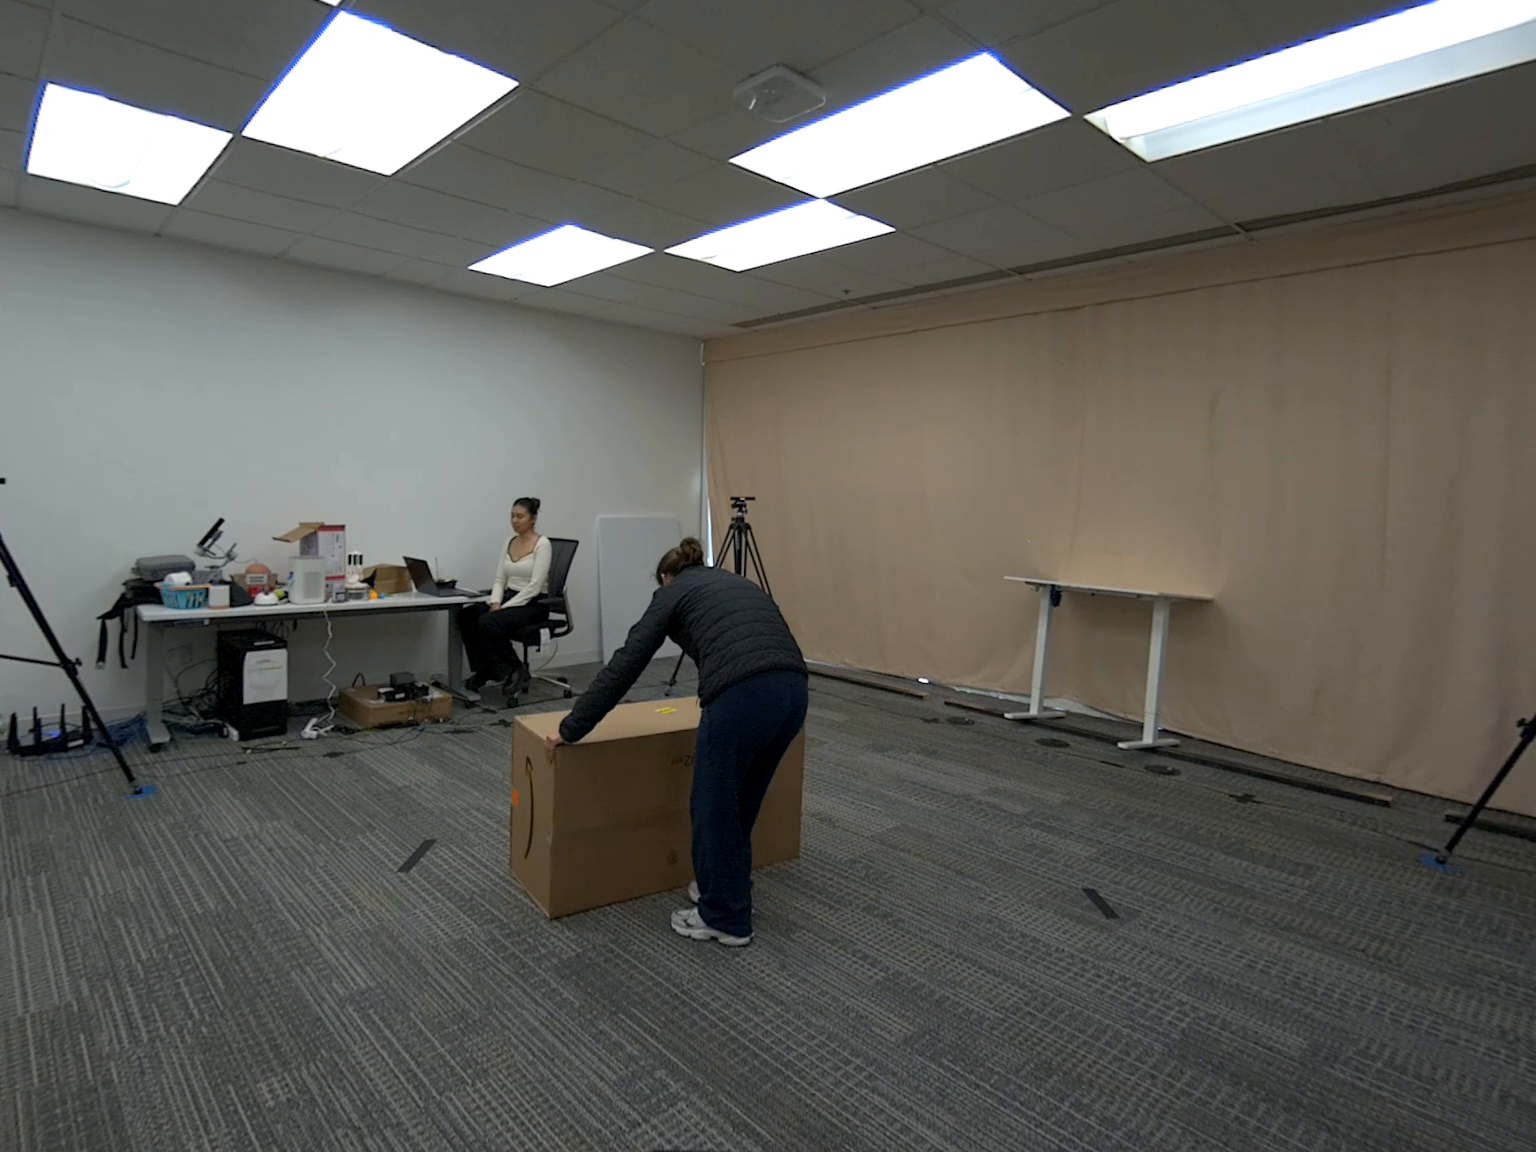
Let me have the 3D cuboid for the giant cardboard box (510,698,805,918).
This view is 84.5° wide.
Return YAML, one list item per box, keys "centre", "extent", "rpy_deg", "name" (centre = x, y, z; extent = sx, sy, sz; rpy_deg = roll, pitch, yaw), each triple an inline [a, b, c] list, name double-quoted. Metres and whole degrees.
- centre: [-0.406, 0.809, 3.169]
  extent: [1.005, 0.583, 0.457]
  rpy_deg: [-1, 3, -34]
  name: "giant cardboard box"
